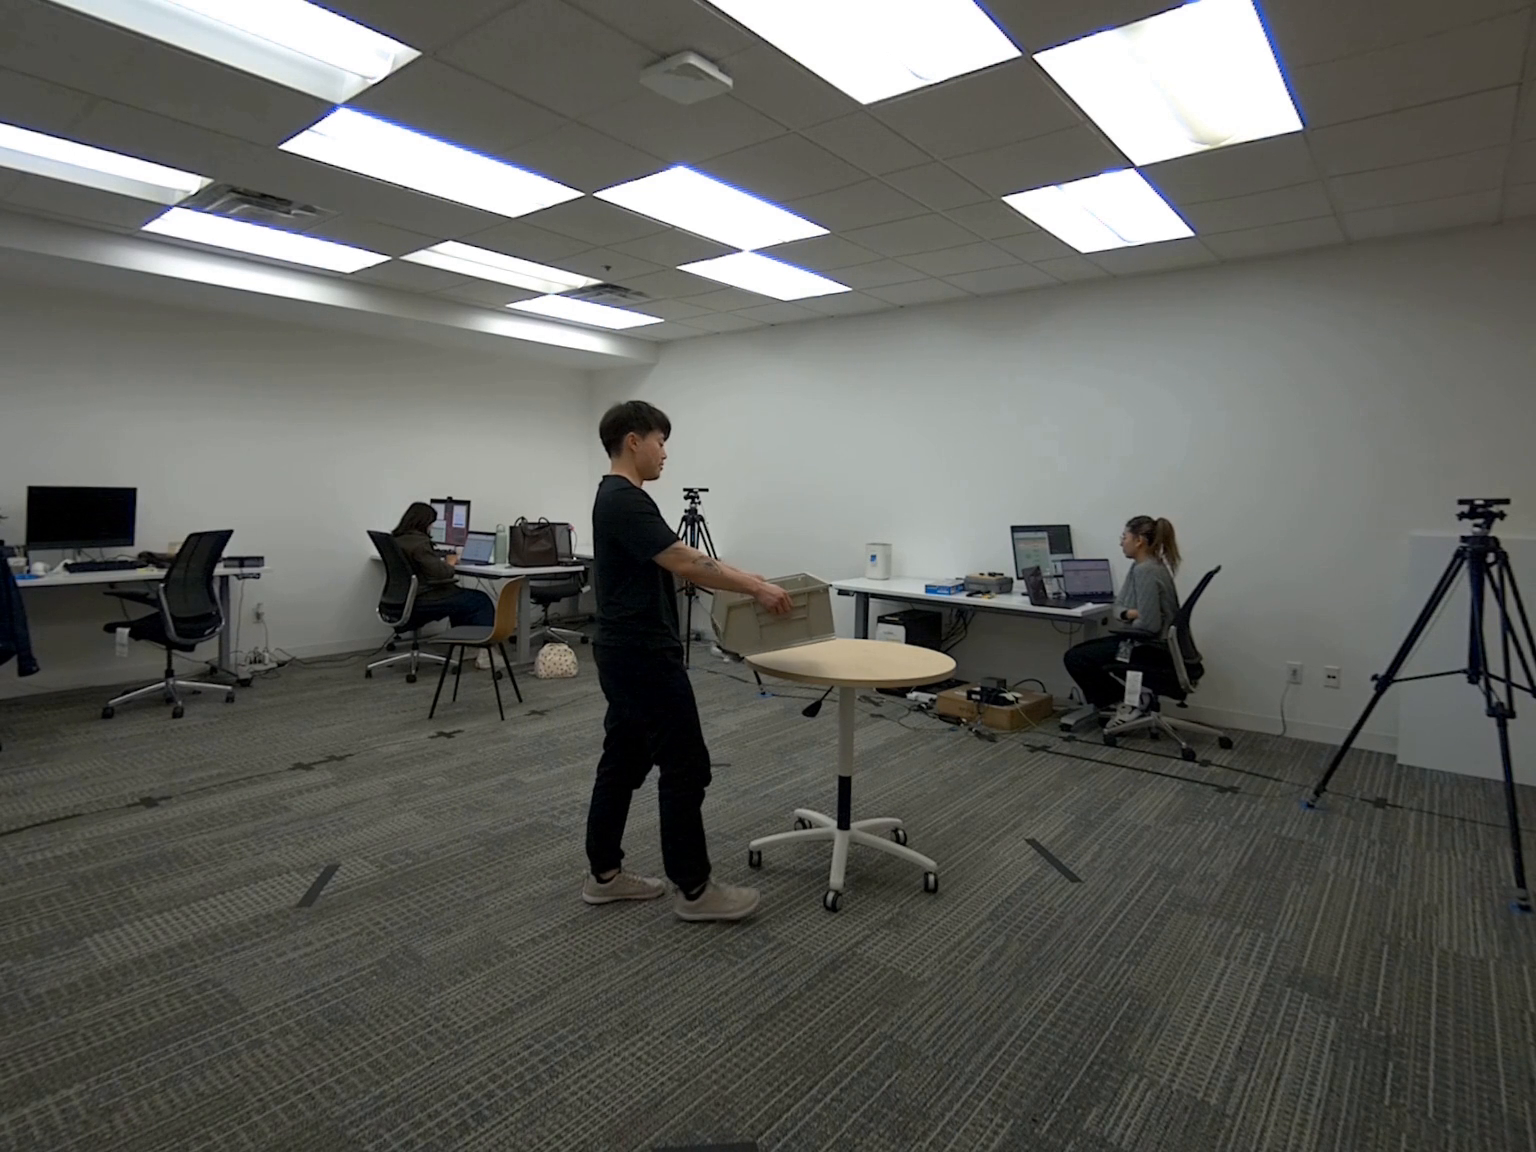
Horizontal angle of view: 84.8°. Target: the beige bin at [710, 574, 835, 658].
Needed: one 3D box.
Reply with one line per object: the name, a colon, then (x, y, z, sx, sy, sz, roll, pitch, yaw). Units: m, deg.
beige bin: (-0.007, 0.130, 2.880, 0.375, 0.188, 0.427, -8, 6, -8)
